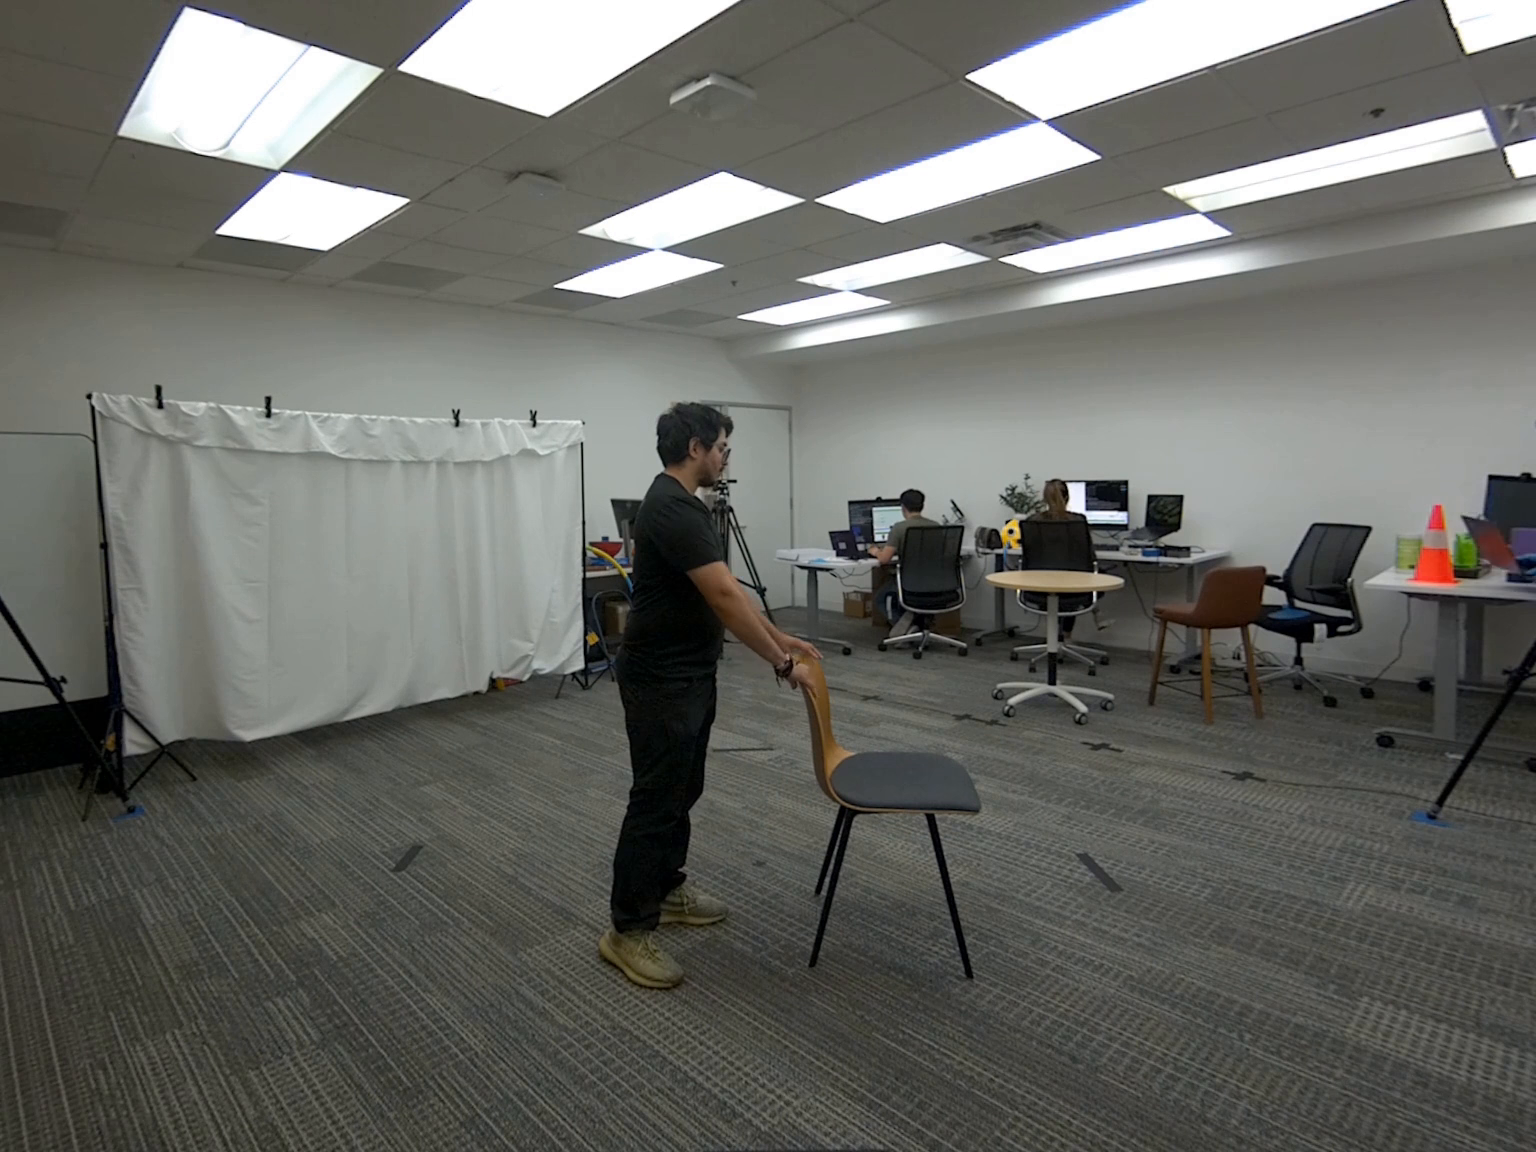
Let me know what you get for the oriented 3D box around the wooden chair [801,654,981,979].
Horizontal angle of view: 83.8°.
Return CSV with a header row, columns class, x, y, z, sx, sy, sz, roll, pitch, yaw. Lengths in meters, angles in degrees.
class,x,y,z,sx,sy,sz,roll,pitch,yaw
wooden chair,0.367,0.666,2.603,0.527,0.875,0.476,-5,3,7
